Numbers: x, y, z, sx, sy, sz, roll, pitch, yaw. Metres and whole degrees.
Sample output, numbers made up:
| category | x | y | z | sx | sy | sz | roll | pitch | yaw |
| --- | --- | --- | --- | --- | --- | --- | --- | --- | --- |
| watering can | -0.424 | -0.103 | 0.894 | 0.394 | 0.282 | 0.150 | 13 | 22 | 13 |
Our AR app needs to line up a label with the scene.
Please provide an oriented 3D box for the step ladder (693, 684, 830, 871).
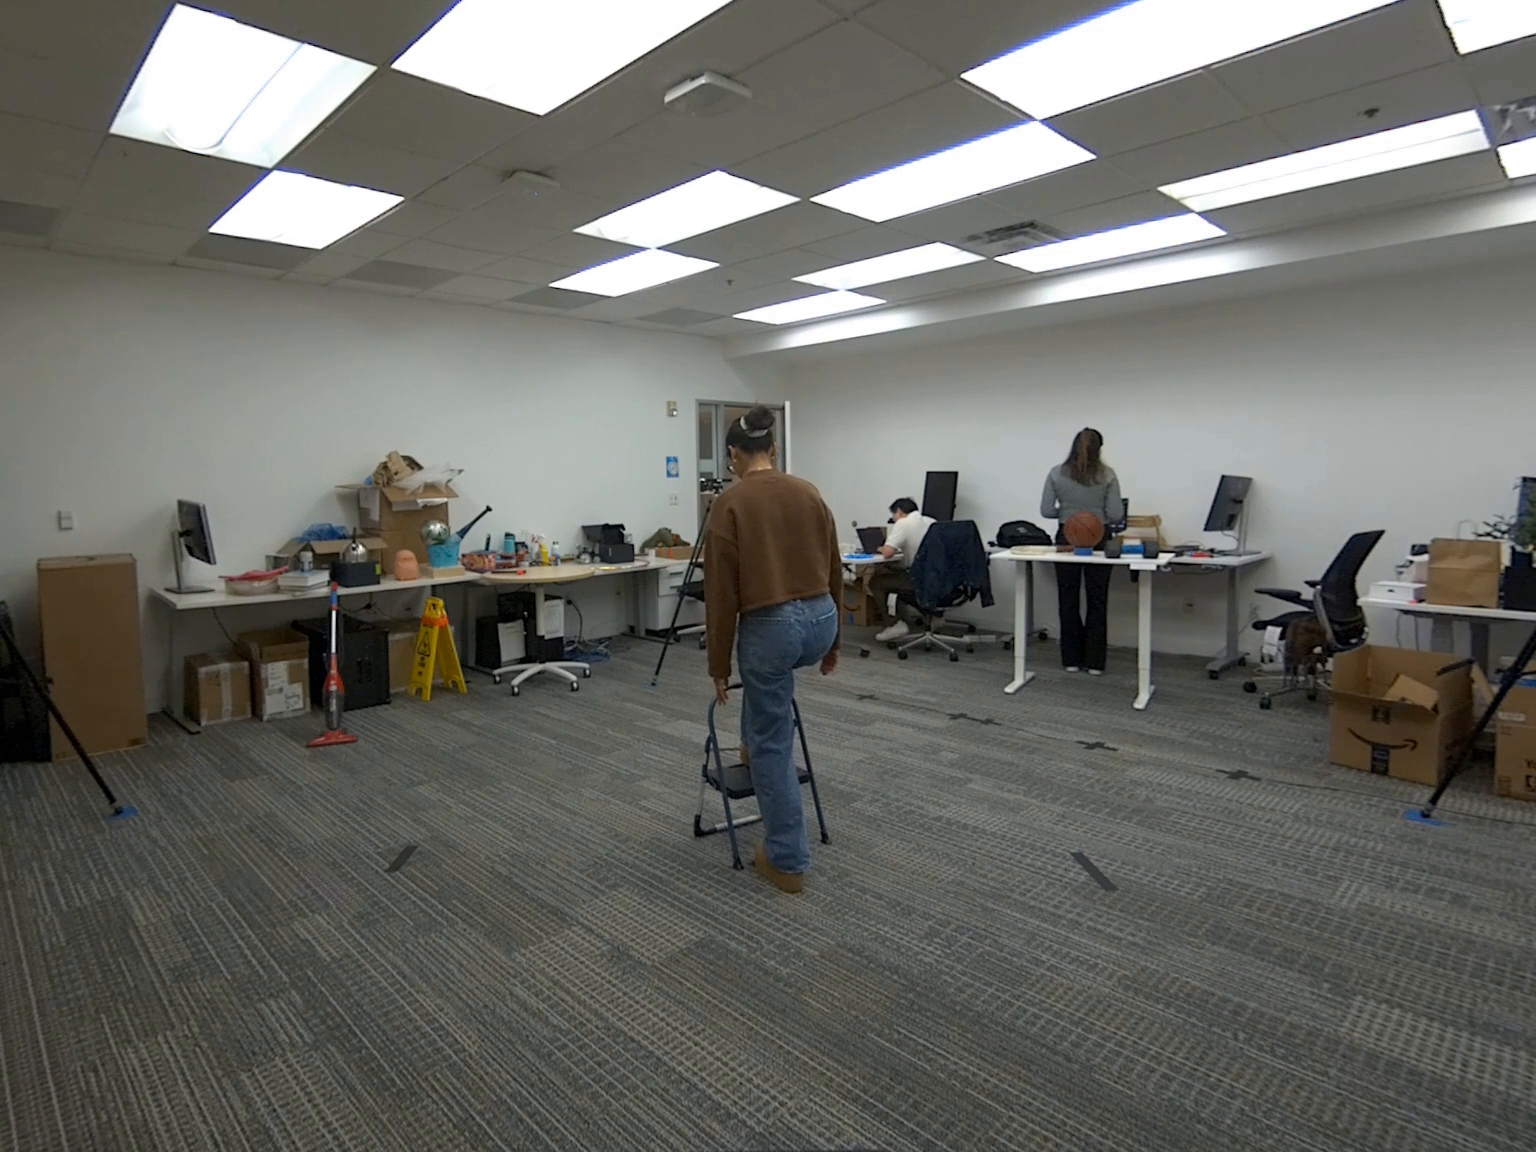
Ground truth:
| category | x | y | z | sx | sy | sz | roll | pitch | yaw |
| --- | --- | --- | --- | --- | --- | --- | --- | --- | --- |
| step ladder | -0.030 | 0.719 | 3.291 | 0.420 | 0.604 | 0.359 | -4 | 5 | -33 |
